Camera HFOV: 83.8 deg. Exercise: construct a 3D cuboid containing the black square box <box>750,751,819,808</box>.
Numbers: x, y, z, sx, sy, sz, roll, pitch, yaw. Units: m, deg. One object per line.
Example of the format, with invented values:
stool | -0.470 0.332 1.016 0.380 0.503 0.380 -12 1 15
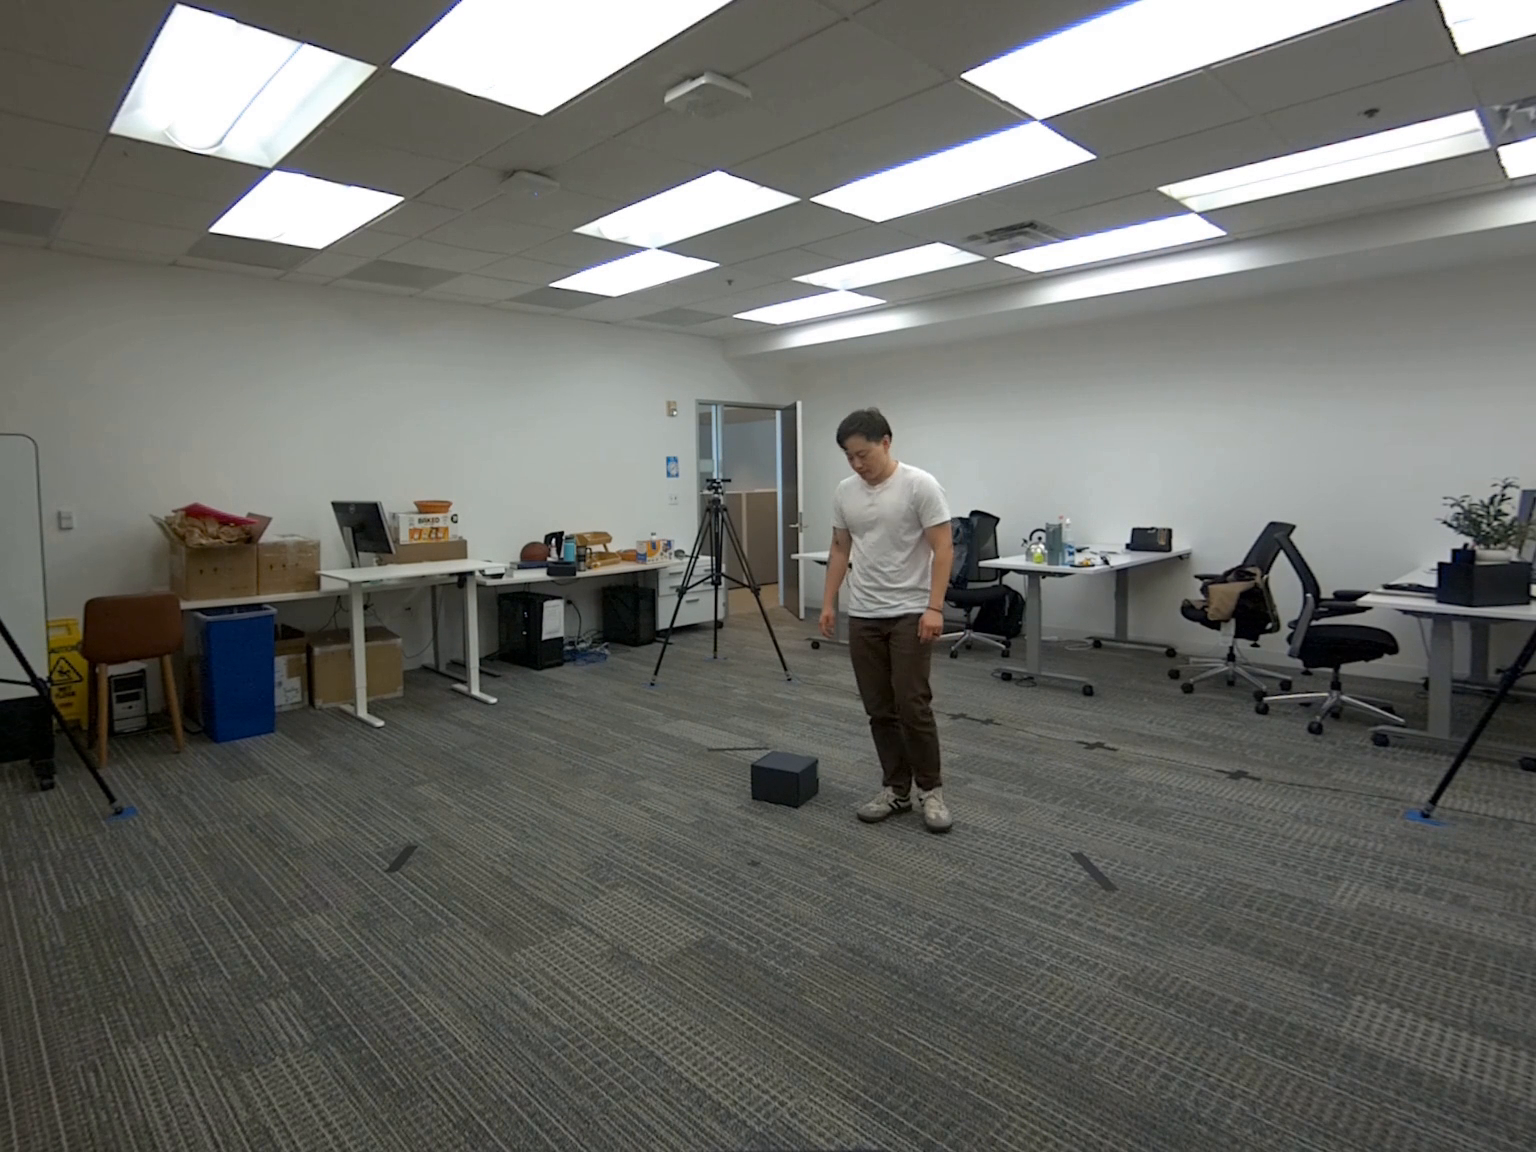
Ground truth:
black square box | 0.079 0.886 3.756 0.234 0.155 0.212 2 6 29
